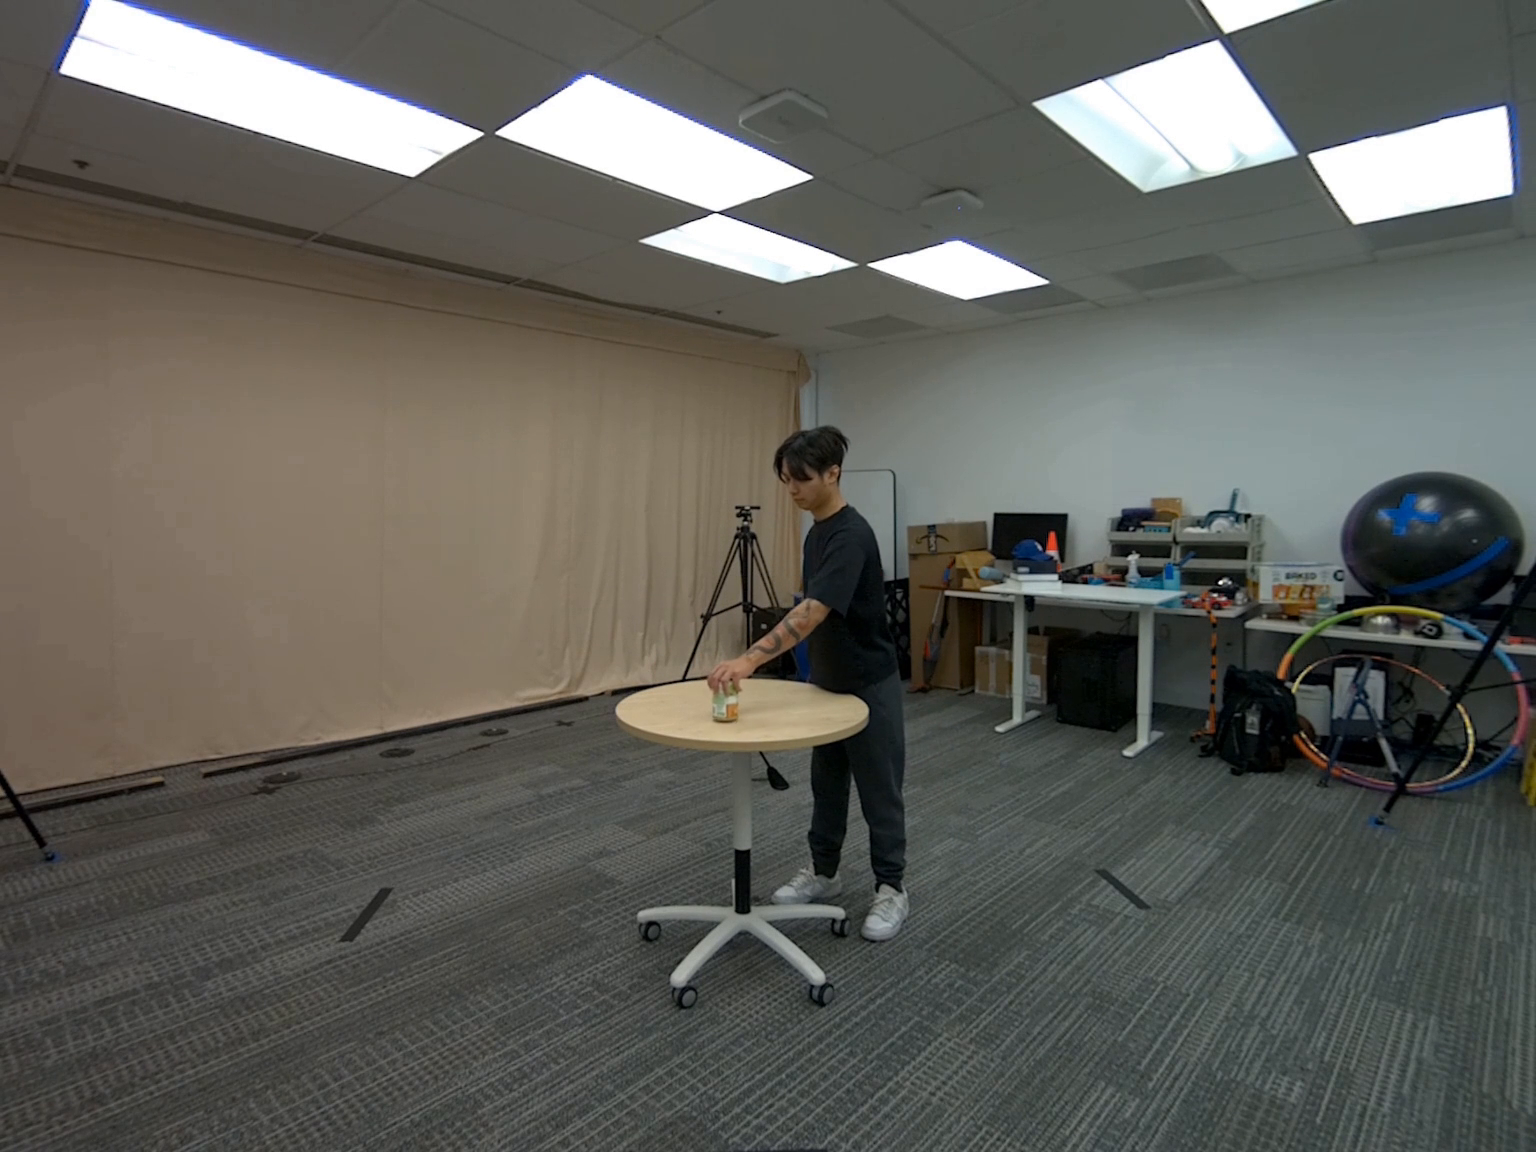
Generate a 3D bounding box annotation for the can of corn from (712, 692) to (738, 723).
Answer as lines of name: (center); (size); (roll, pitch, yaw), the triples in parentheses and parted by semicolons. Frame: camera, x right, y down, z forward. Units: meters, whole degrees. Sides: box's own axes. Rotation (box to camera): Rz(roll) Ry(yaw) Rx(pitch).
can of corn: (-0.114, 0.348, 2.387); (0.074, 0.111, 0.074); (1, 1, -2)
